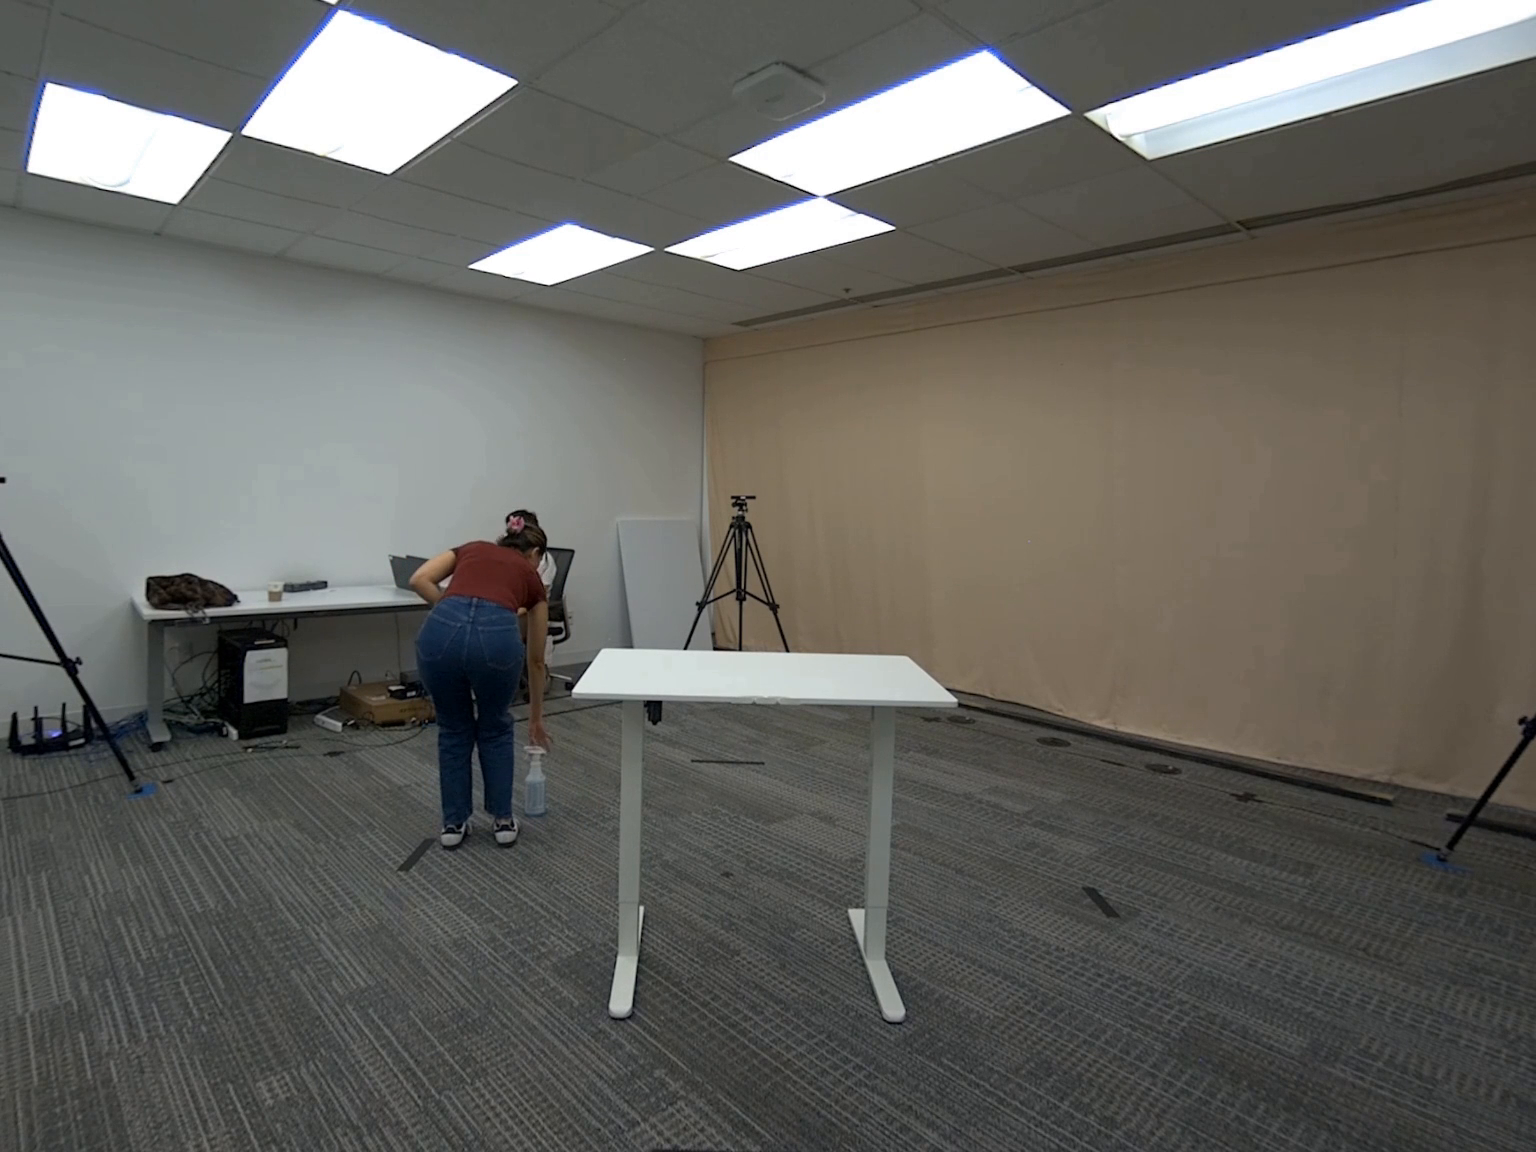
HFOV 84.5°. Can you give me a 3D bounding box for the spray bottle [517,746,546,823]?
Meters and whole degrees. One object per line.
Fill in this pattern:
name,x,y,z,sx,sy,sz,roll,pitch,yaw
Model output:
spray bottle,-1.020,0.894,3.648,0.090,0.296,0.087,2,5,7
